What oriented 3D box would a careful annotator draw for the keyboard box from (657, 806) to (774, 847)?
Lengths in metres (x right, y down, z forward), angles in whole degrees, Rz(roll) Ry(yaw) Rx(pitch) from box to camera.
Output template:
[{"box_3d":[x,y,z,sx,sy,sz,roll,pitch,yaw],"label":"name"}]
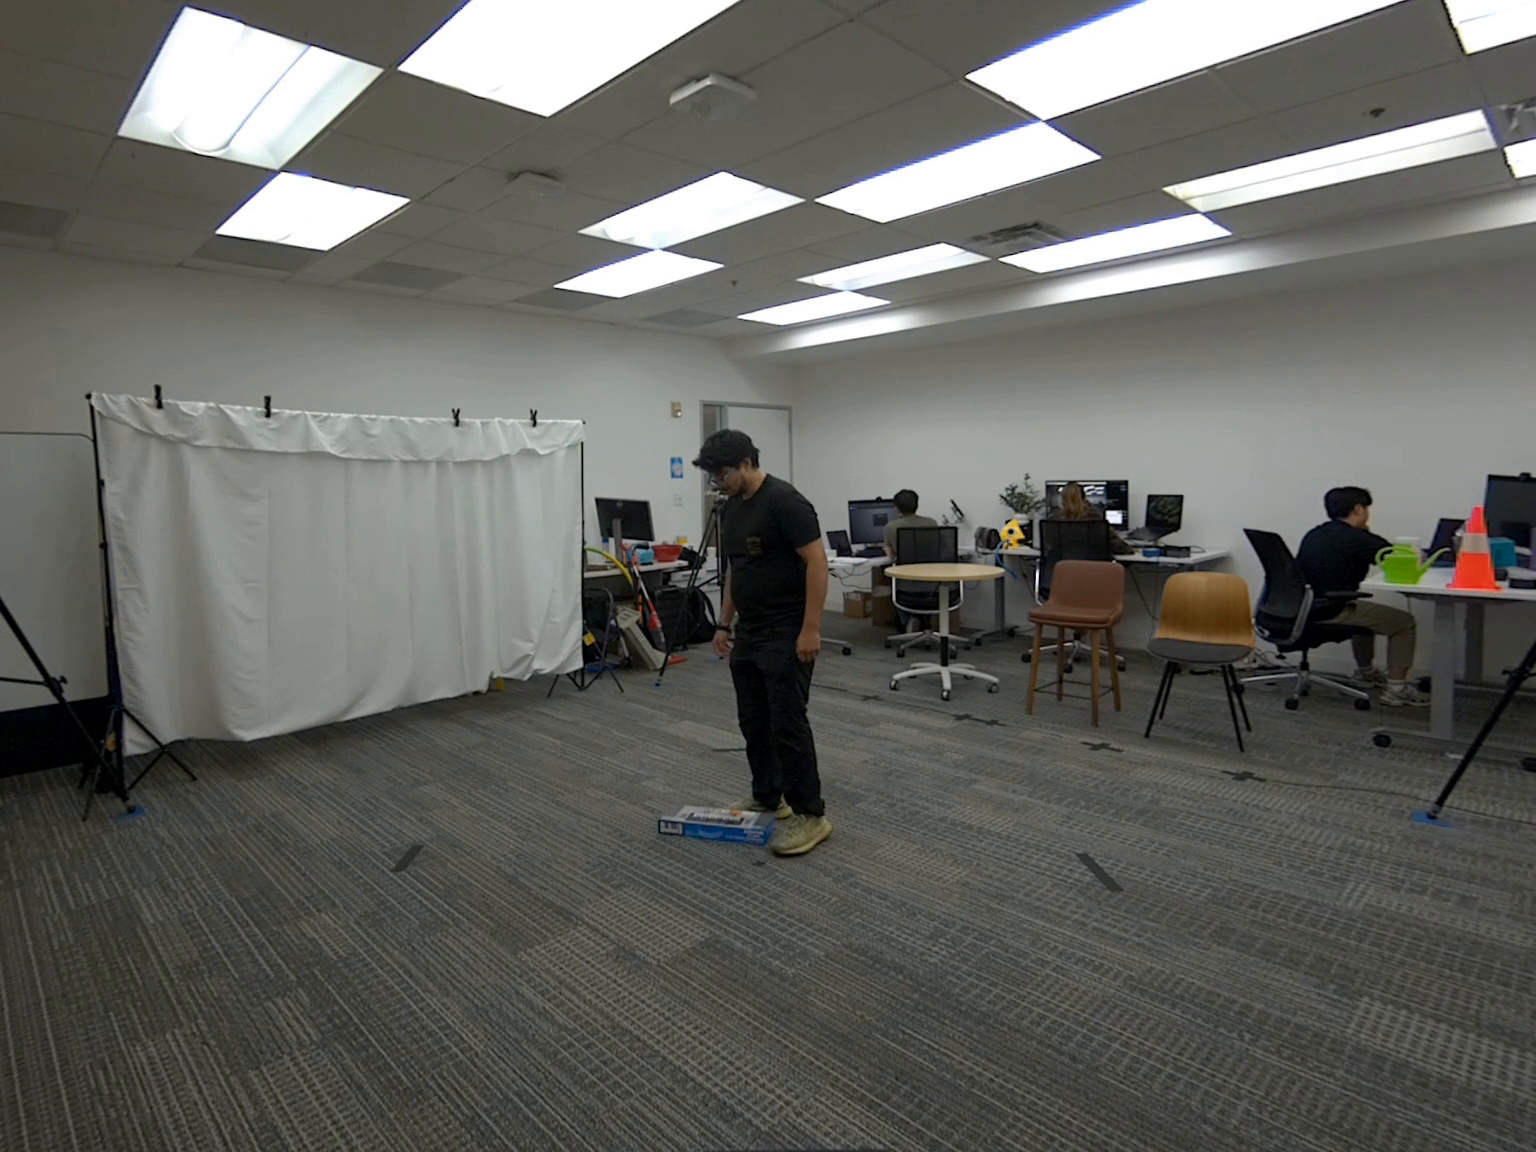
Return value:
[{"box_3d":[-0.202,0.990,3.408,0.444,0.059,0.174,1,6,16],"label":"keyboard box"}]
